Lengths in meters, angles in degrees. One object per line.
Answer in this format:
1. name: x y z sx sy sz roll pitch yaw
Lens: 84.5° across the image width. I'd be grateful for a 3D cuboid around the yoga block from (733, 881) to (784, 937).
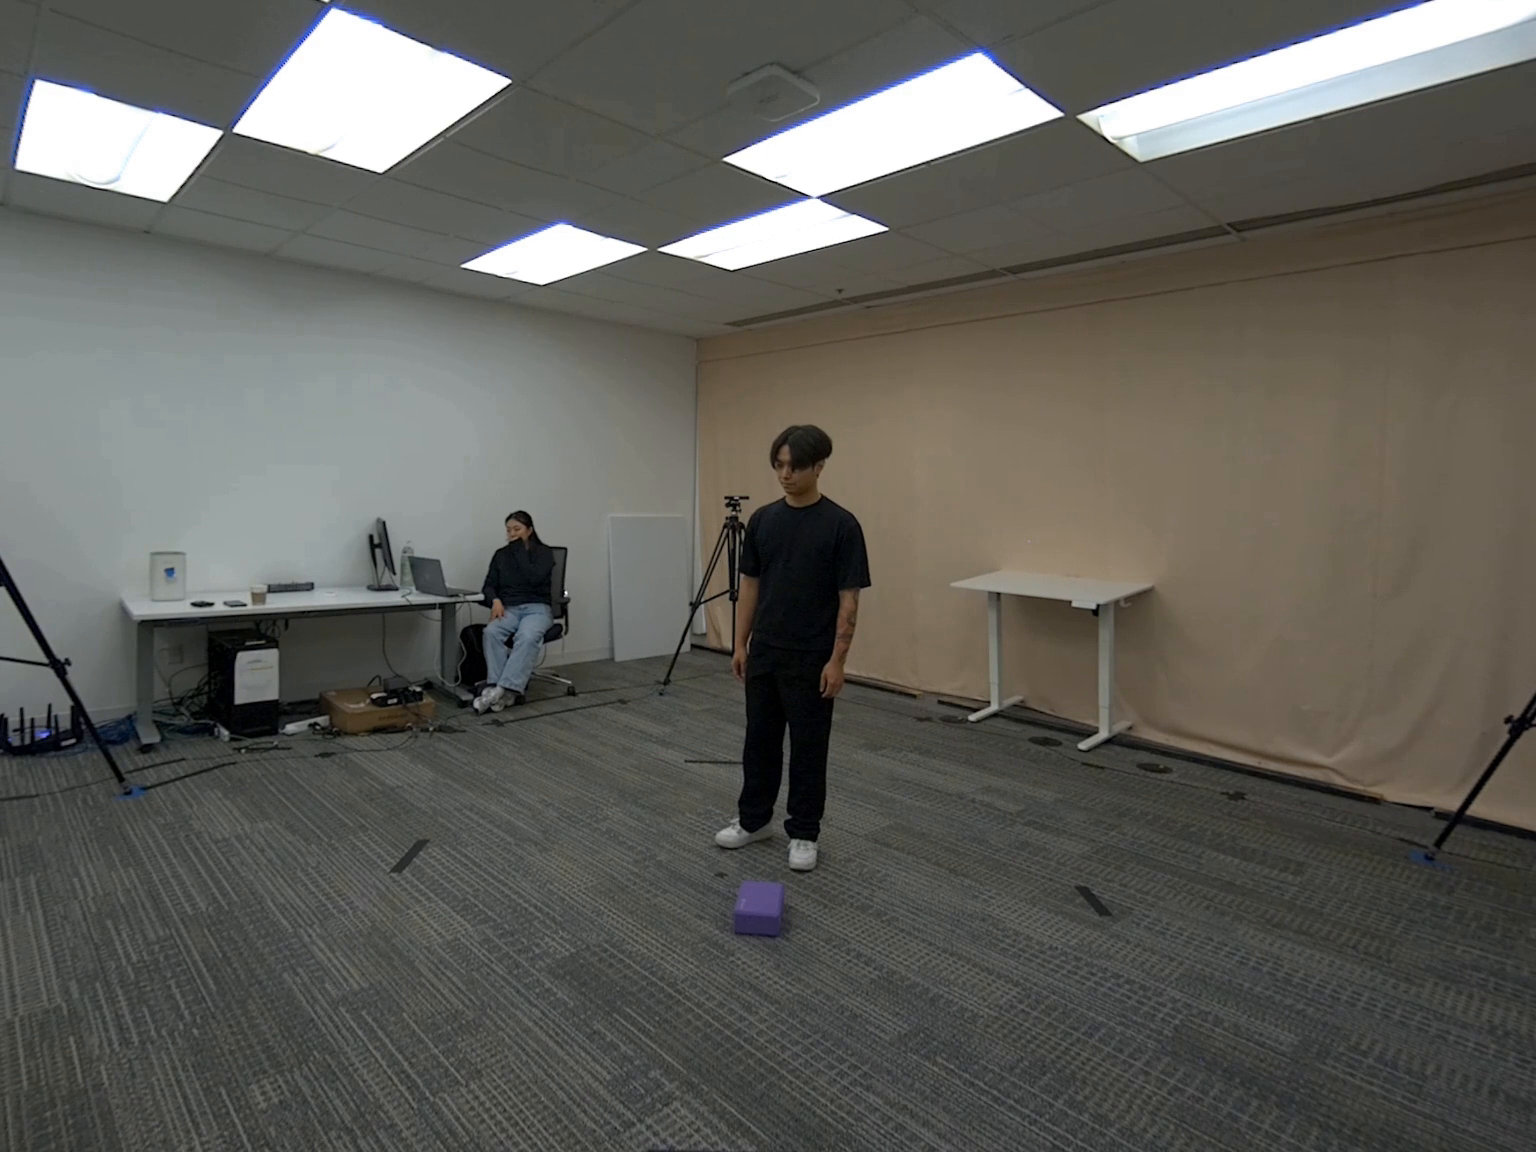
1. yoga block: -0.039 1.098 2.781 0.150 0.076 0.229 -1 6 7
